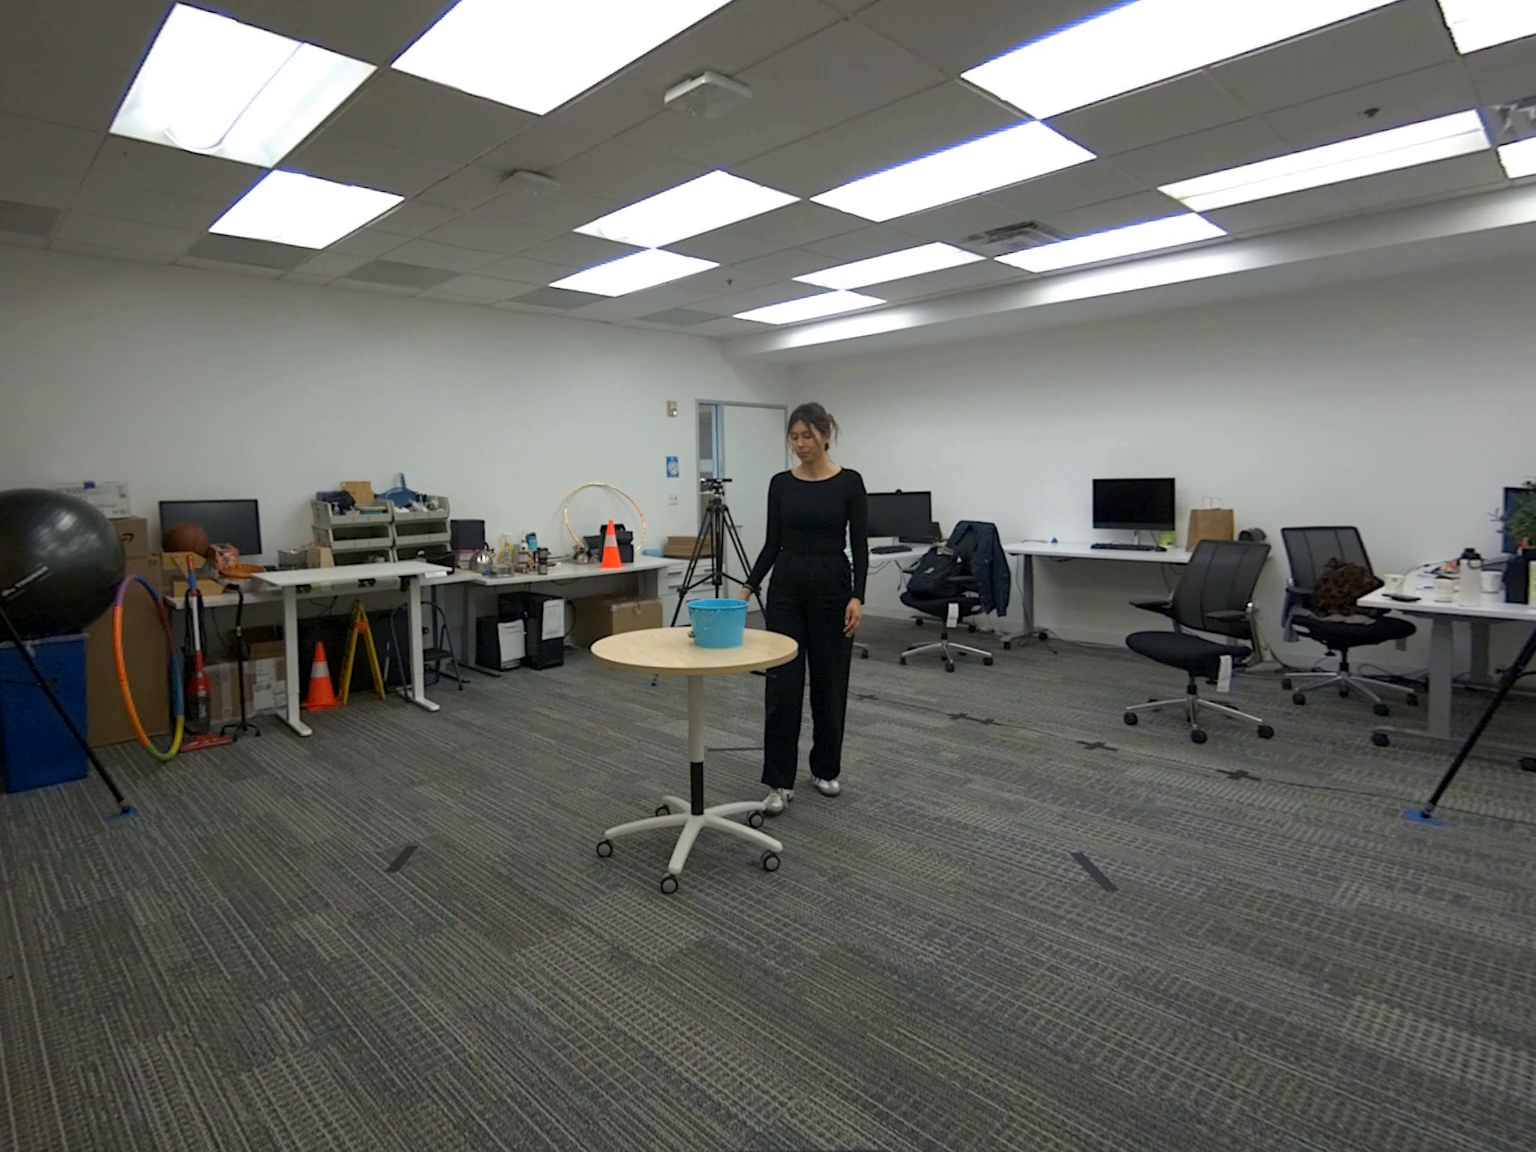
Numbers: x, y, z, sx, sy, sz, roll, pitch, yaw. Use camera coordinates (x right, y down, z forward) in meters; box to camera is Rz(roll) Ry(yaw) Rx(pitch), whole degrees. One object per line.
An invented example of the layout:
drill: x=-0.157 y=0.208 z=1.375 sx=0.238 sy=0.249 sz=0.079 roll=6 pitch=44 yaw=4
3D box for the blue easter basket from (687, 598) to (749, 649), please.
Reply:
blue easter basket: x=-0.192 y=0.179 z=3.195 sx=0.243 sy=0.155 sz=0.245 roll=0 pitch=6 yaw=-2
